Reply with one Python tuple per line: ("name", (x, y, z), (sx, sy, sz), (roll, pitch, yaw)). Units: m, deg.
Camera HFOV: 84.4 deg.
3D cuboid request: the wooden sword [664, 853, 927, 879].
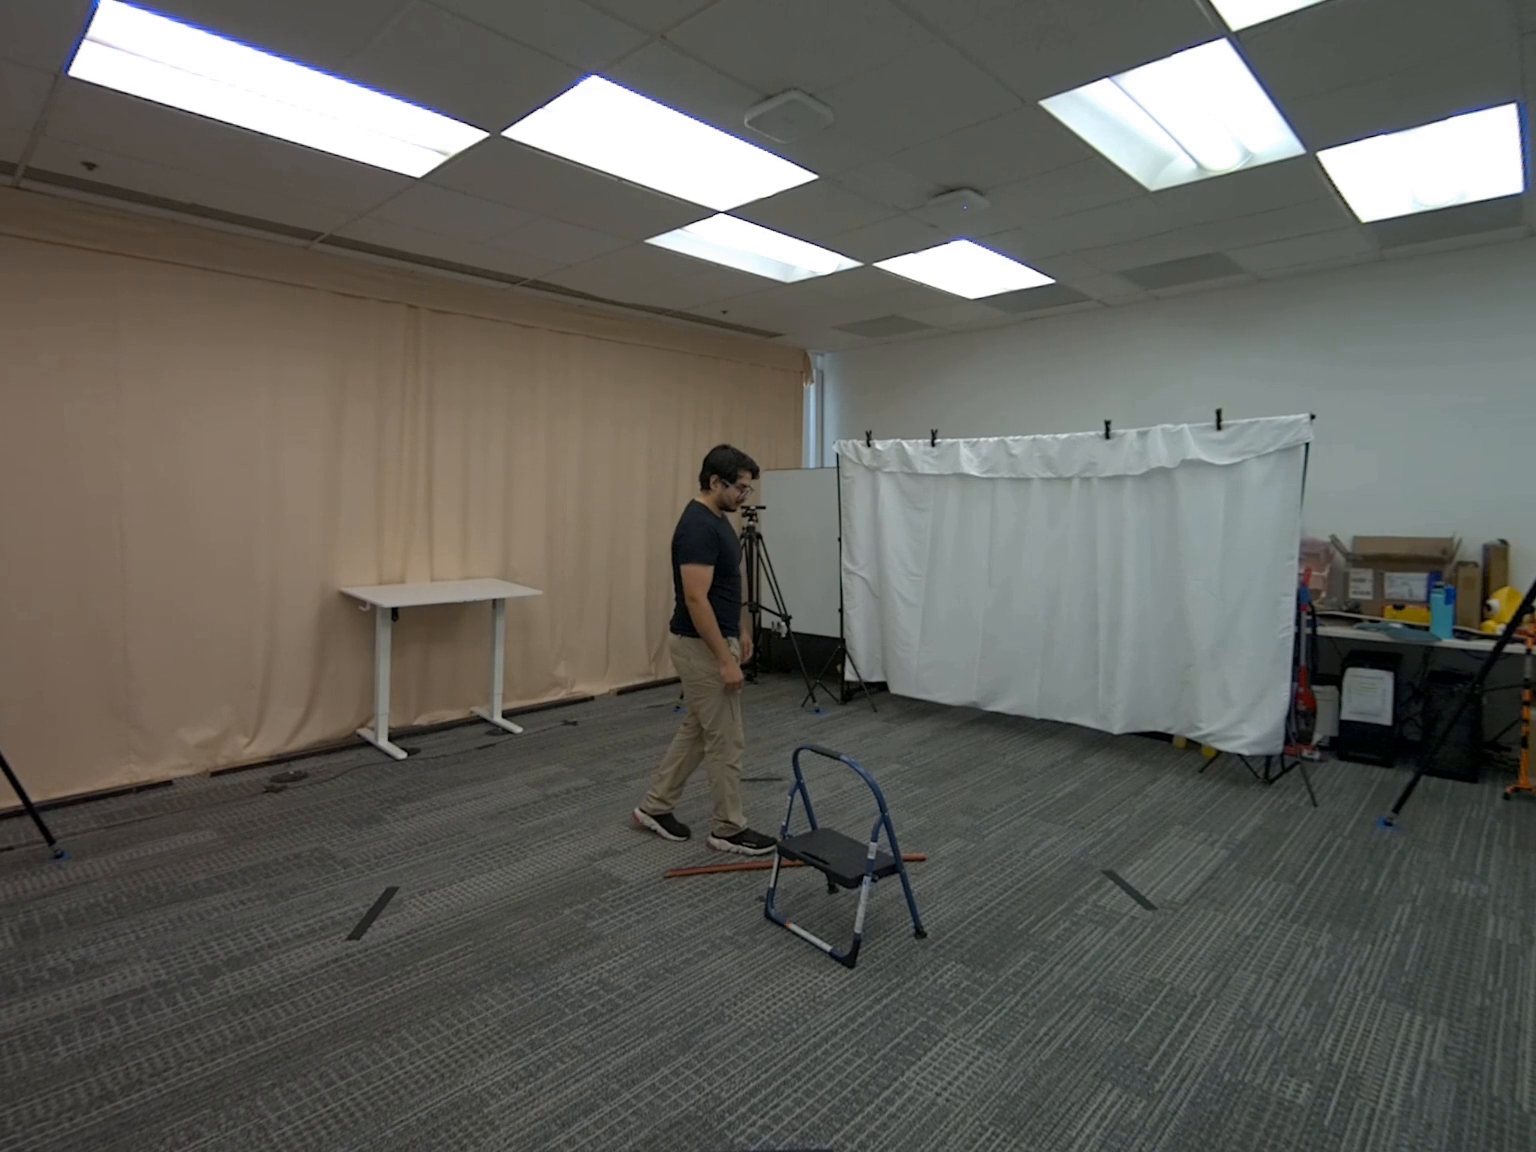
("wooden sword", (0.107, 1.098, 3.244), (1.017, 0.024, 0.052), (-1, 16, -7))
